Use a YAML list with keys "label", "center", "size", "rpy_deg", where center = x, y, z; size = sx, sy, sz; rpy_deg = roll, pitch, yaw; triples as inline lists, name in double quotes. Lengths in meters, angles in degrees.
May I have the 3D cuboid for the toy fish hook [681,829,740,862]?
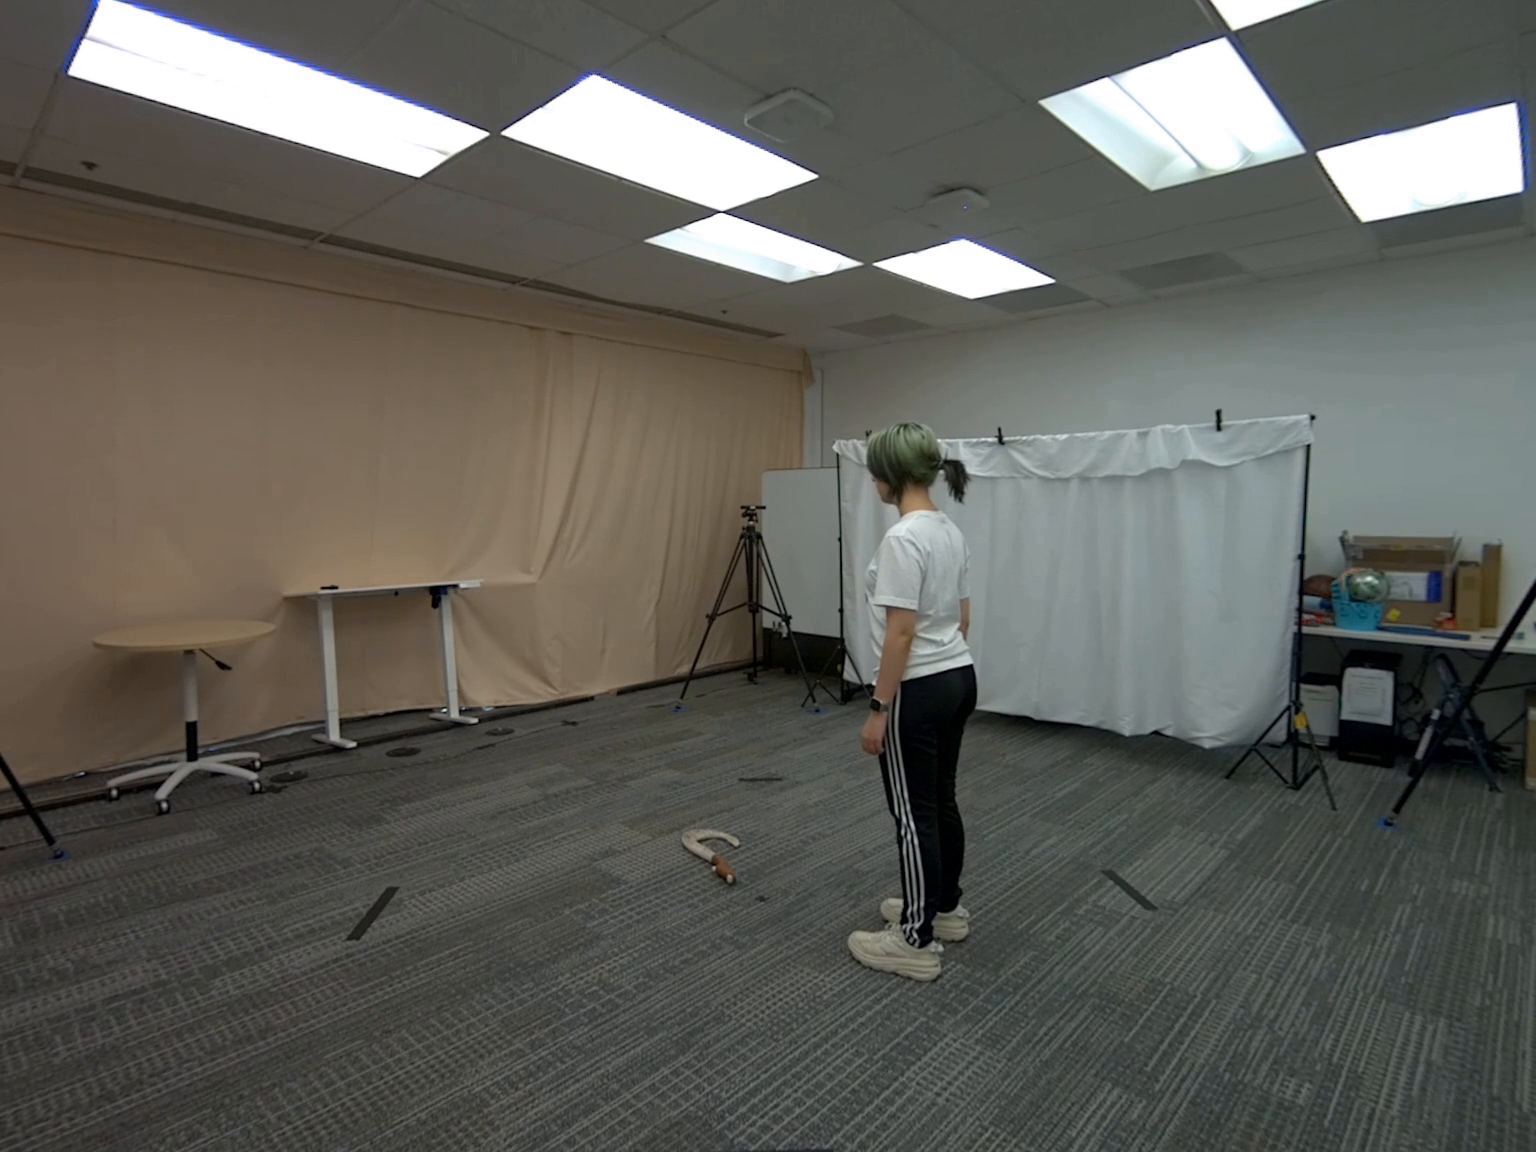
- label: "toy fish hook"
  center: [-0.179, 1.091, 3.325]
  size: [0.220, 0.048, 0.519]
  rpy_deg: [-3, 6, -23]
